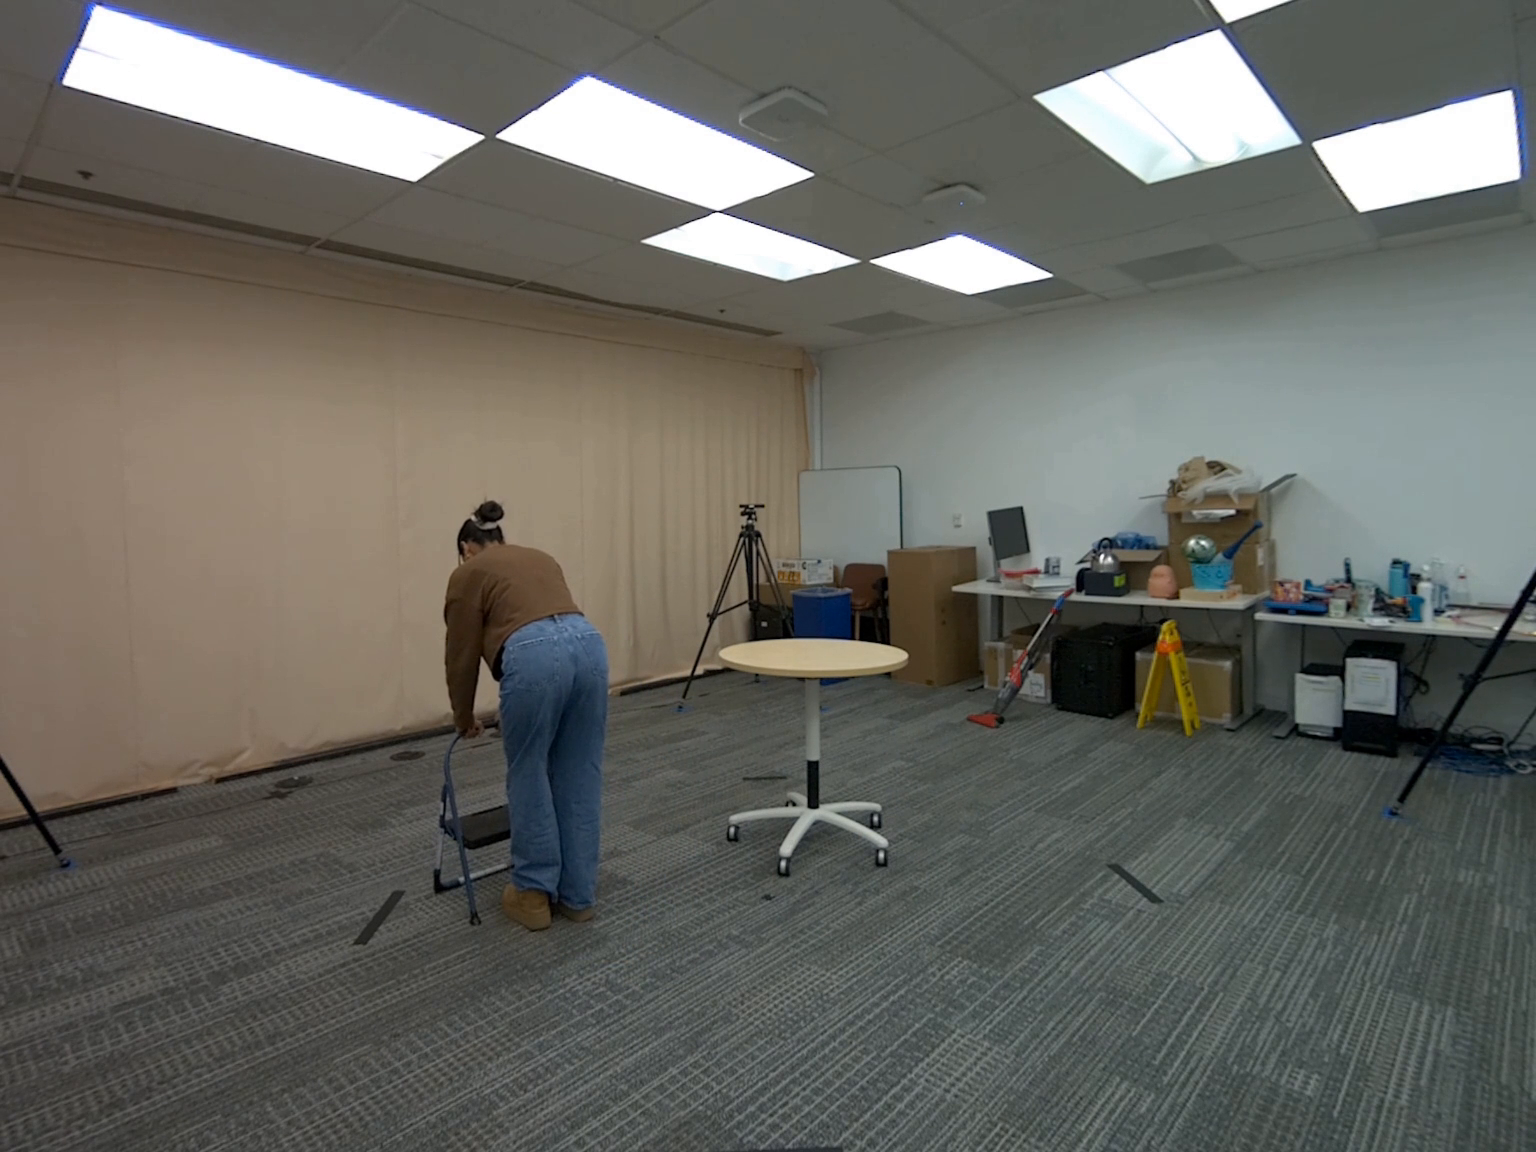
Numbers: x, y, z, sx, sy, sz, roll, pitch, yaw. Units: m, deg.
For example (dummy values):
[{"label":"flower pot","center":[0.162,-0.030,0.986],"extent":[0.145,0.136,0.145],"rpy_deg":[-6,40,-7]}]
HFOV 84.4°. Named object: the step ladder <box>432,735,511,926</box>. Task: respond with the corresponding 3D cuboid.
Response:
[{"label":"step ladder","center":[-0.972,0.859,3.088],"extent":[0.417,0.604,0.361],"rpy_deg":[-5,6,-44]}]
